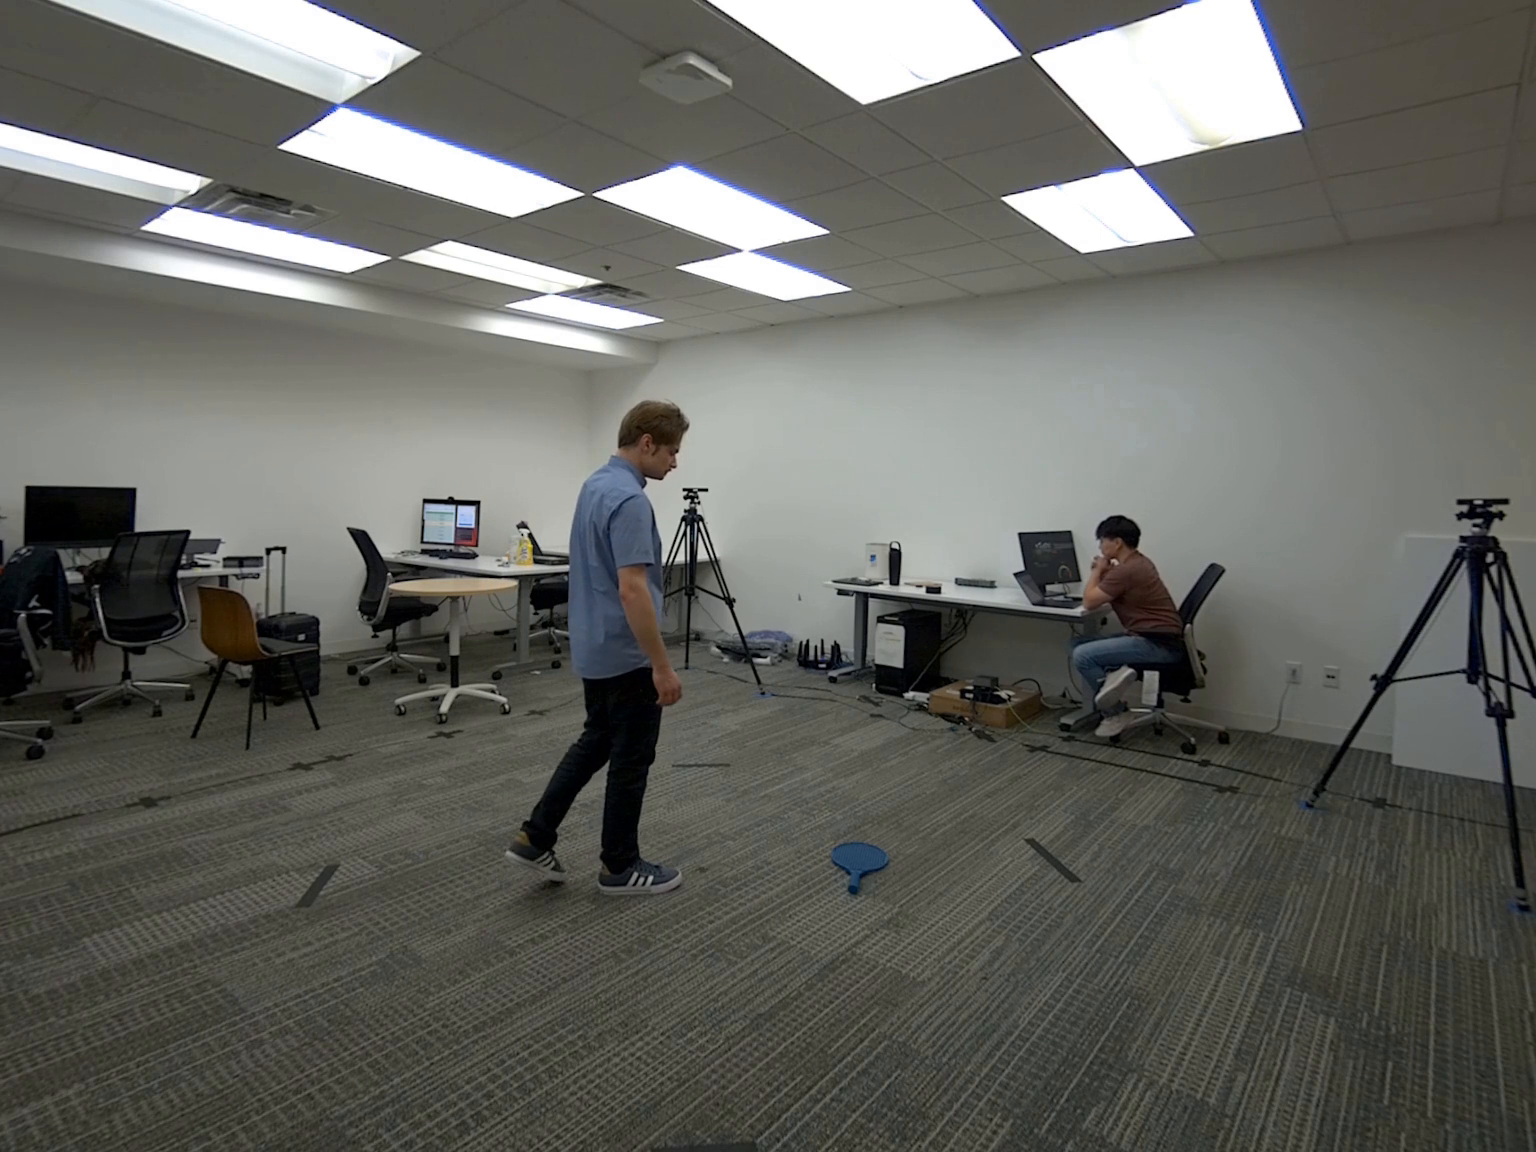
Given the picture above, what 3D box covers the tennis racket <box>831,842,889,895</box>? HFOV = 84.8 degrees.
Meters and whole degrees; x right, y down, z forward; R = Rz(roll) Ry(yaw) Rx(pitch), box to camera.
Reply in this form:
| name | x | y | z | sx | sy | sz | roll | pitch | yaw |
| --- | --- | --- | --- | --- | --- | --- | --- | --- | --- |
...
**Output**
| name | x | y | z | sx | sy | sz | roll | pitch | yaw |
| --- | --- | --- | --- | --- | --- | --- | --- | --- | --- |
| tennis racket | 0.319 | 1.063 | 3.148 | 0.217 | 0.032 | 0.428 | 2 | 4 | 12 |
